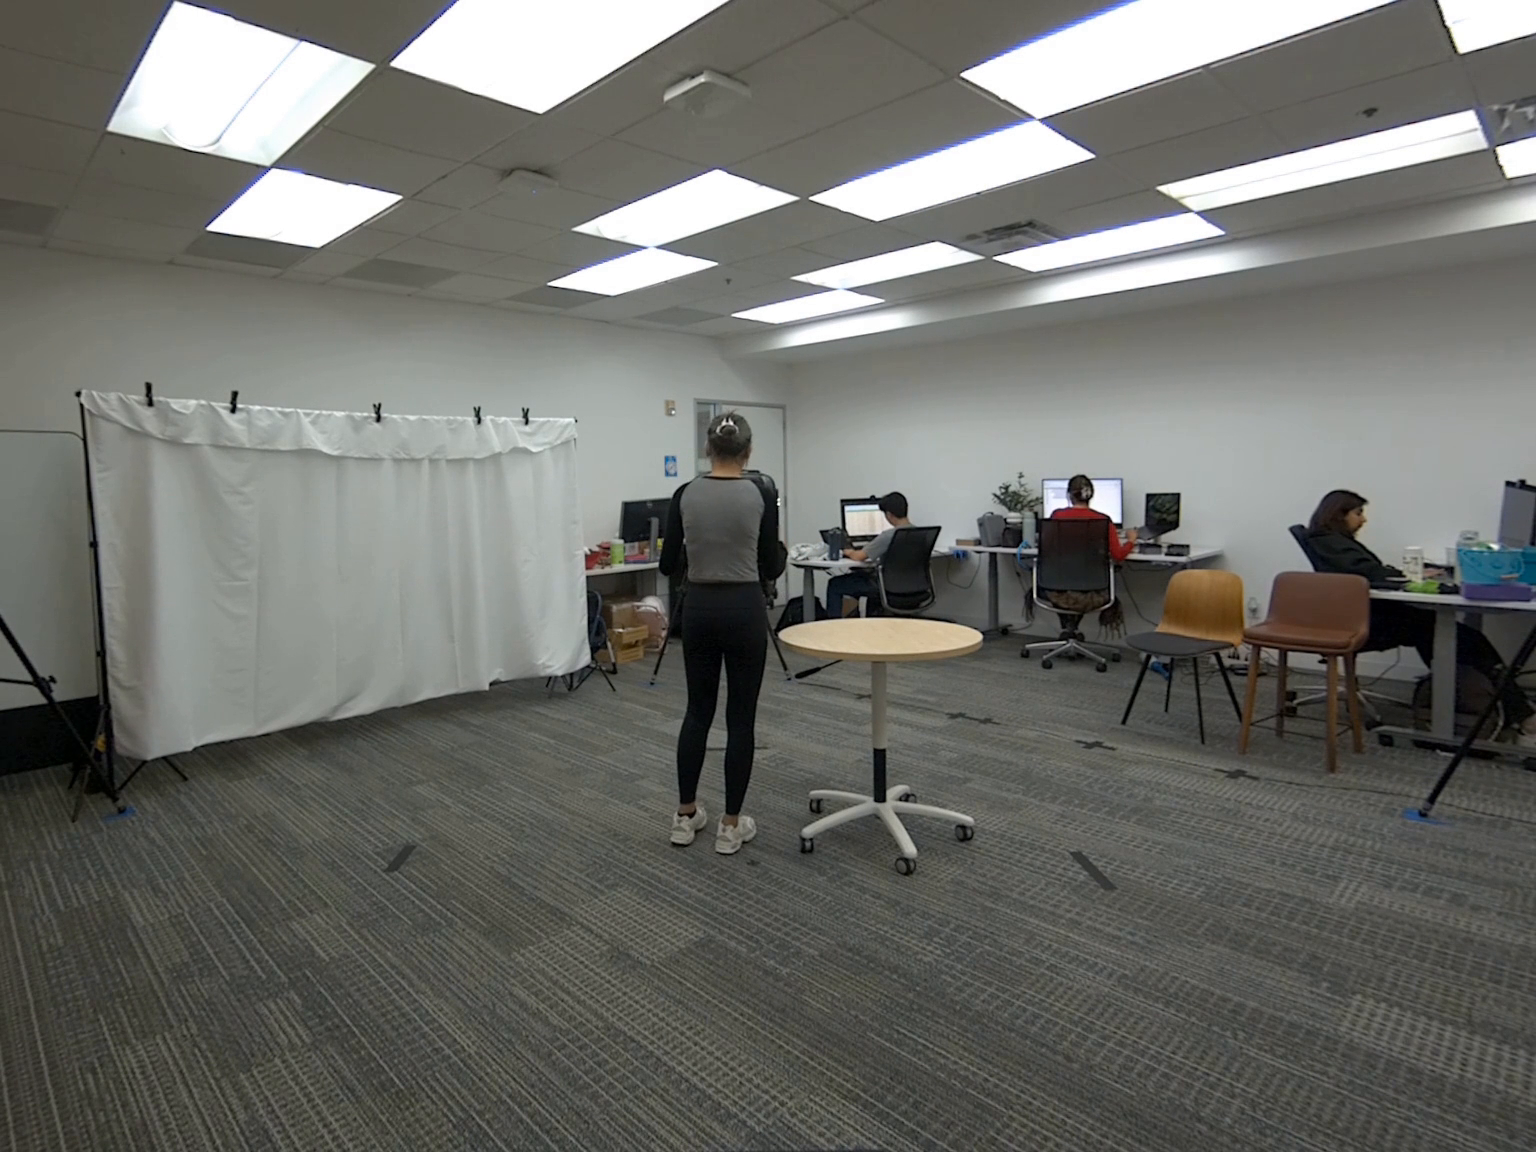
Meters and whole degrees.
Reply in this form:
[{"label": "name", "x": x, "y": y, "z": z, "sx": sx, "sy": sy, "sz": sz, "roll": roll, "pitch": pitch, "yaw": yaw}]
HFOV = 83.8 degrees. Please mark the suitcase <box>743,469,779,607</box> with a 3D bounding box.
[{"label": "suitcase", "x": -0.139, "y": -0.160, "z": 3.544, "sx": 0.379, "sy": 0.546, "sz": 0.247, "roll": 2, "pitch": 7, "yaw": 9}]
